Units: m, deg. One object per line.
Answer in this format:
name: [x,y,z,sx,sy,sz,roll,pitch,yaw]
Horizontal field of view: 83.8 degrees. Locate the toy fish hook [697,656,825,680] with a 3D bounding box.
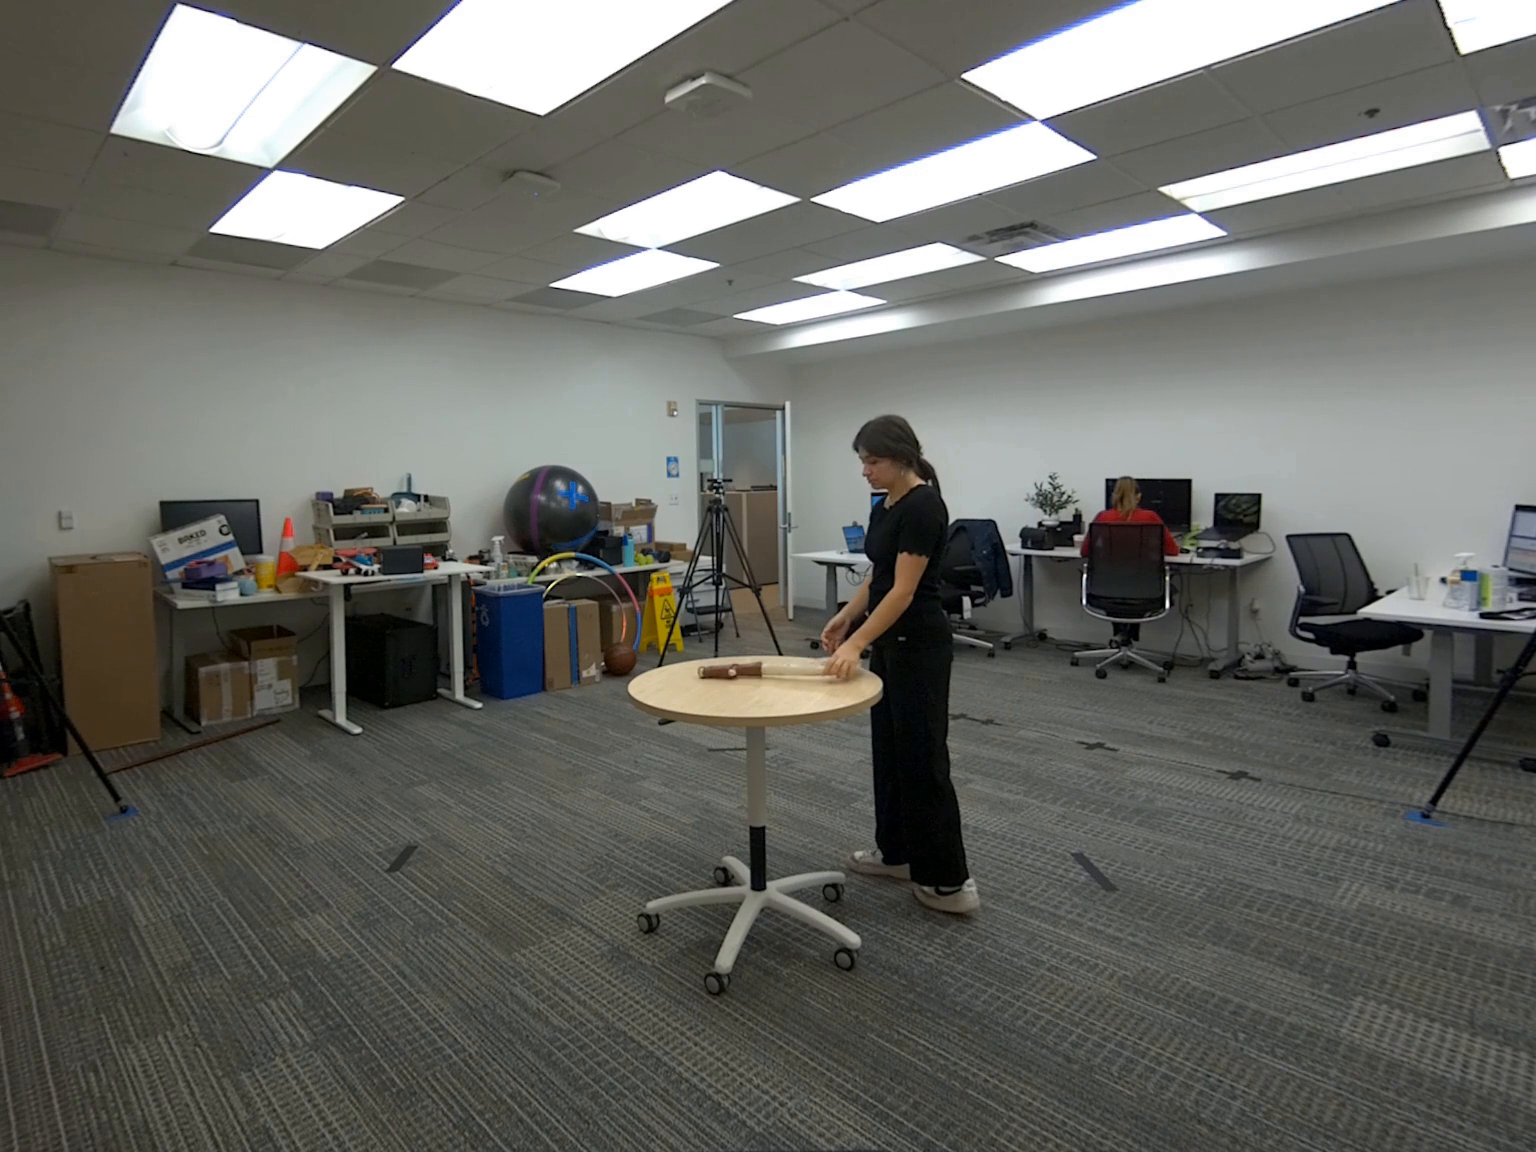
toy fish hook: [0.040,0.277,2.698,0.509,0.048,0.224,-1,3,5]
